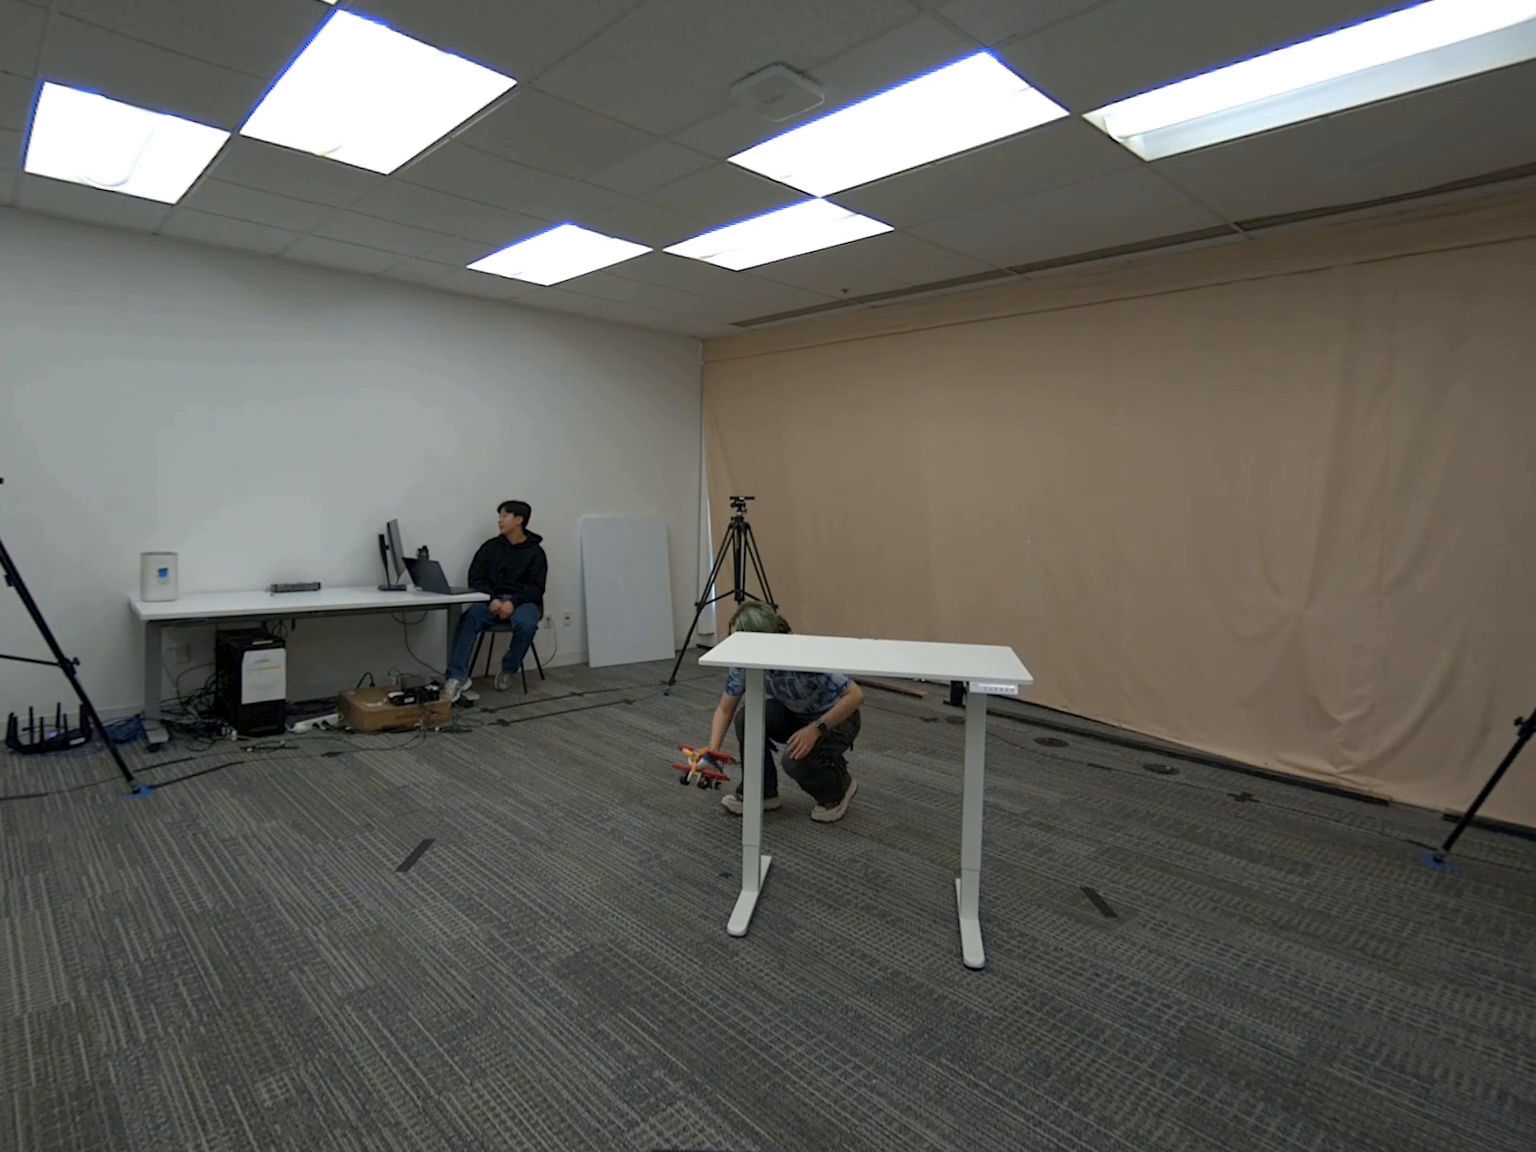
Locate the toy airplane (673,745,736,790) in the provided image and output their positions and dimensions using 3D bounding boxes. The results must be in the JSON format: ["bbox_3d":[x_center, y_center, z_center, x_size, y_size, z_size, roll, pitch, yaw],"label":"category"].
[{"bbox_3d":[-0.275,0.788,3.446,0.251,0.157,0.257,10,-12,0],"label":"toy airplane"}]
